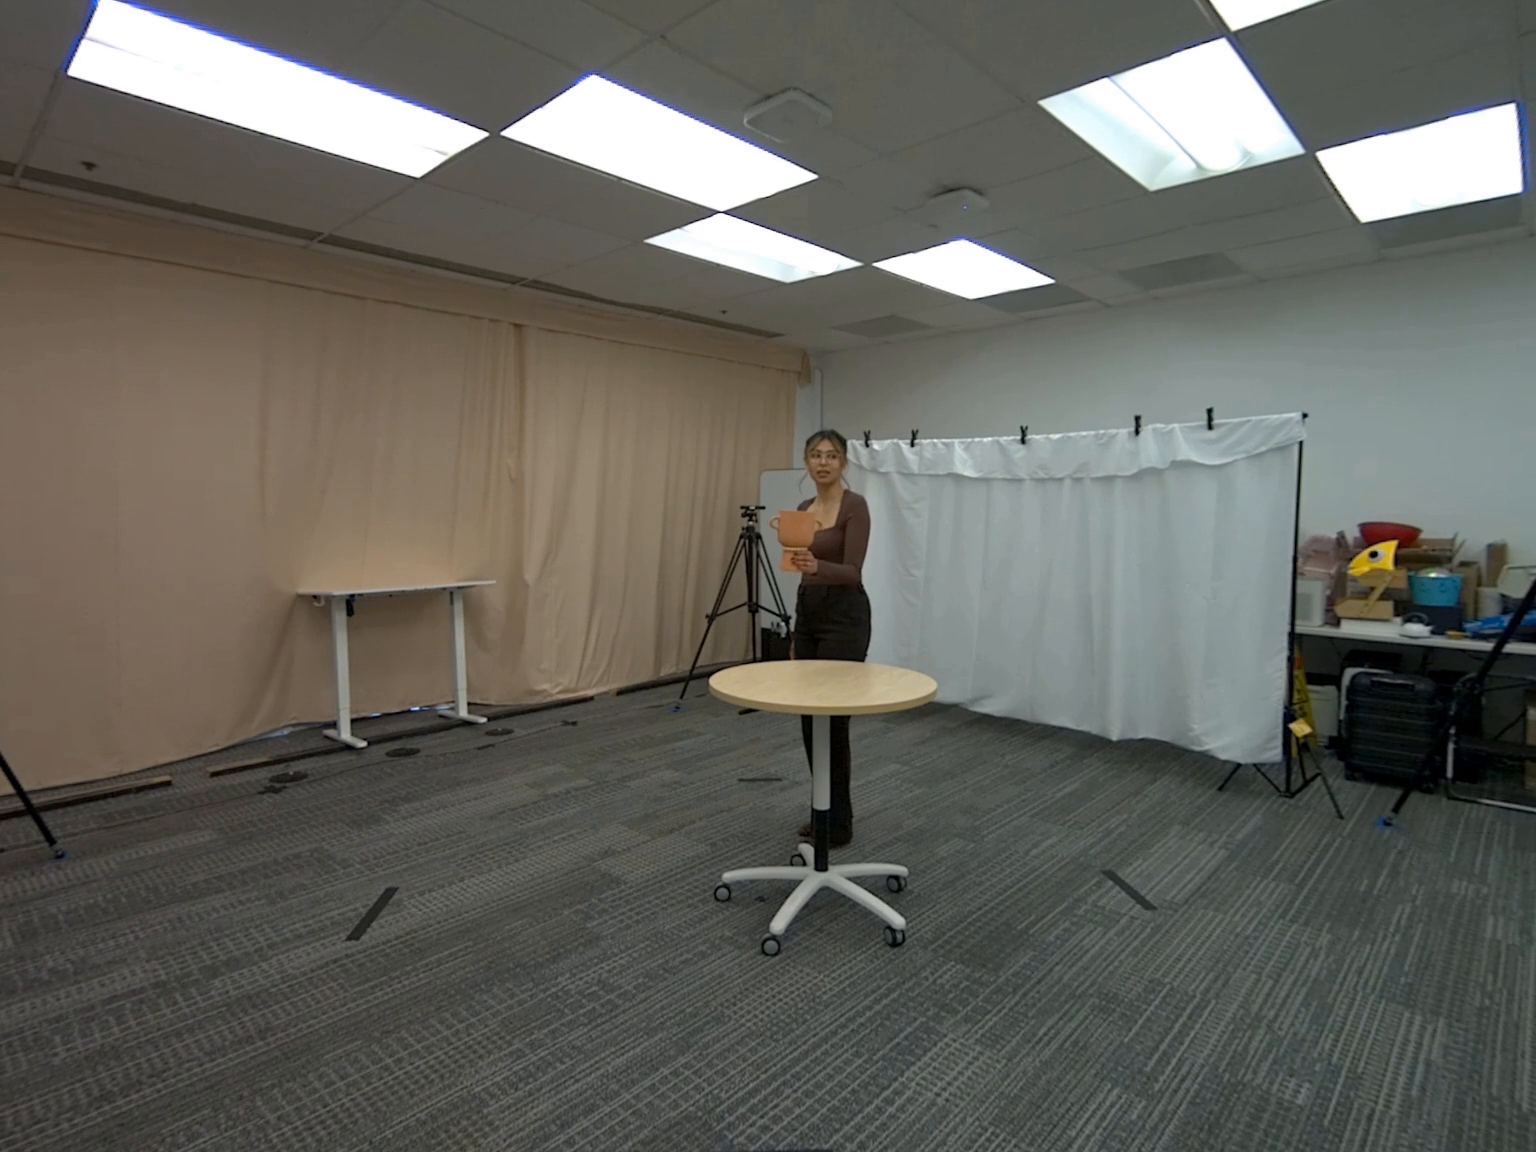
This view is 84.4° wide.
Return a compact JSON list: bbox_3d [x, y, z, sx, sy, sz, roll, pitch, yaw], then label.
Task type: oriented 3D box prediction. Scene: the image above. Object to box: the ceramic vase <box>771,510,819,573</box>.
[{"bbox_3d":[0.107,-0.129,3.083,0.164,0.219,0.131,5,6,31],"label":"ceramic vase"}]
